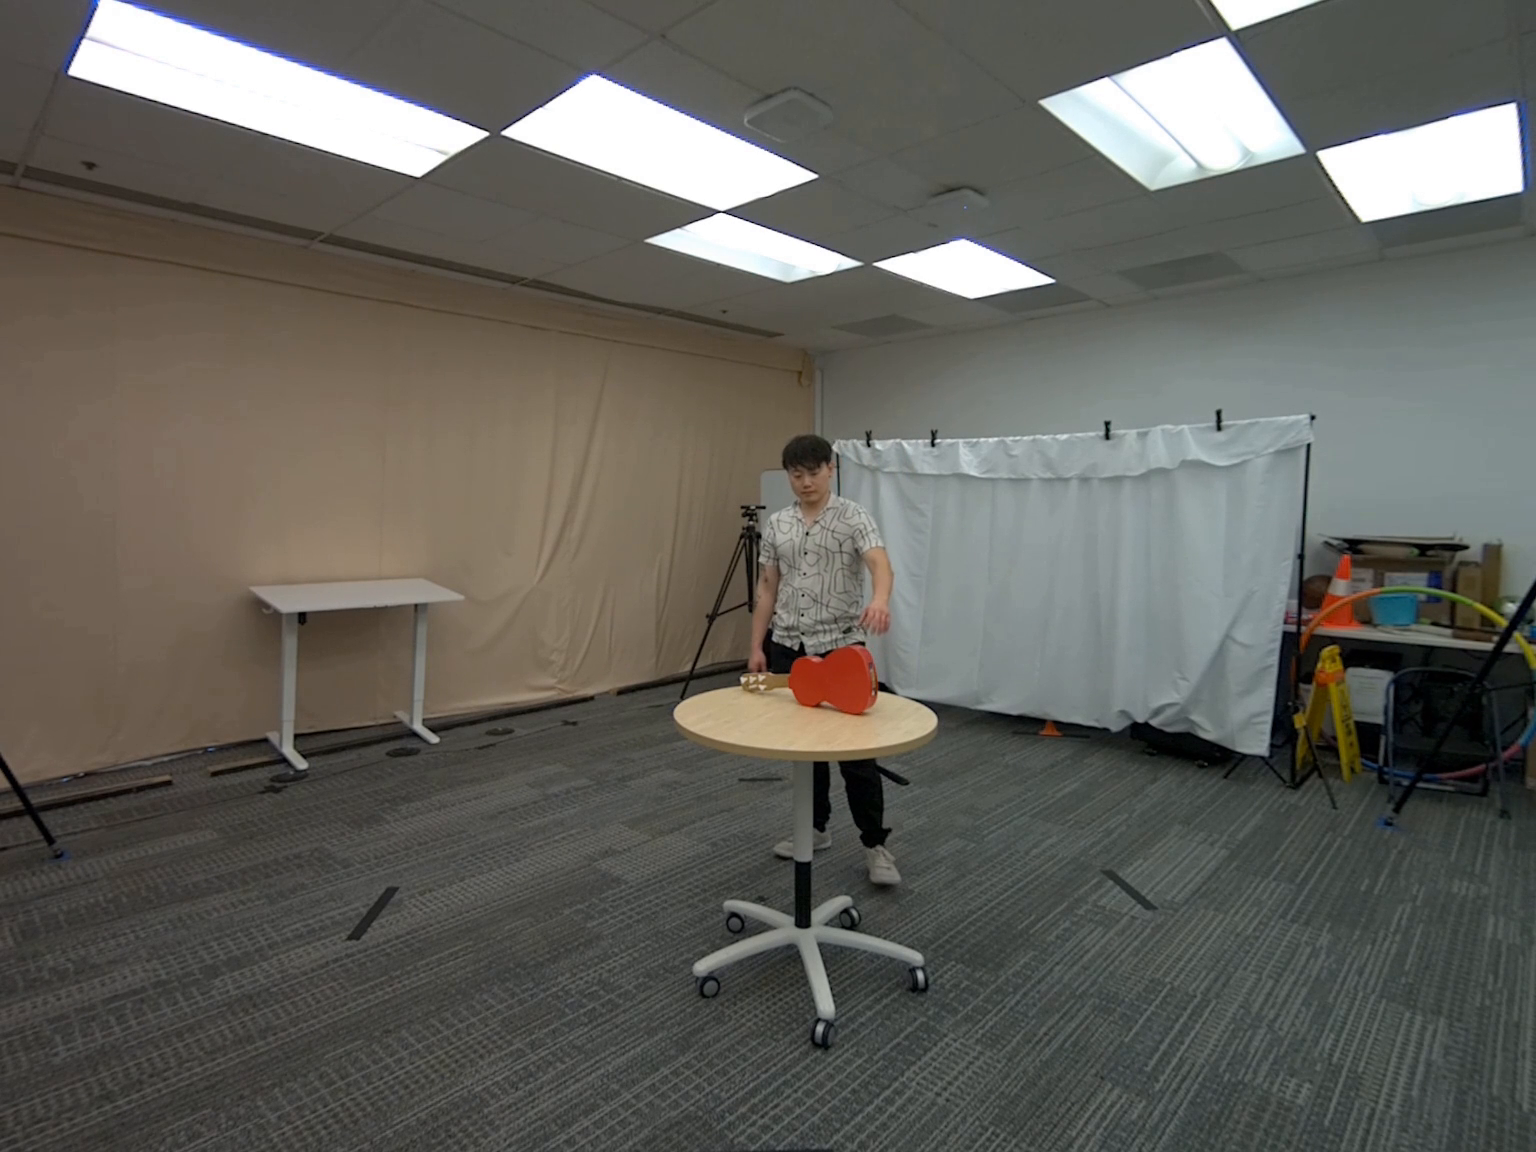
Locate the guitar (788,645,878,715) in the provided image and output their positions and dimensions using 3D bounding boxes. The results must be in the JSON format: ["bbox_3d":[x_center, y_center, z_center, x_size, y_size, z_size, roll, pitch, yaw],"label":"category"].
[{"bbox_3d":[0.115,0.348,2.591,0.509,0.194,0.068,-19,-9,37],"label":"guitar"}]
